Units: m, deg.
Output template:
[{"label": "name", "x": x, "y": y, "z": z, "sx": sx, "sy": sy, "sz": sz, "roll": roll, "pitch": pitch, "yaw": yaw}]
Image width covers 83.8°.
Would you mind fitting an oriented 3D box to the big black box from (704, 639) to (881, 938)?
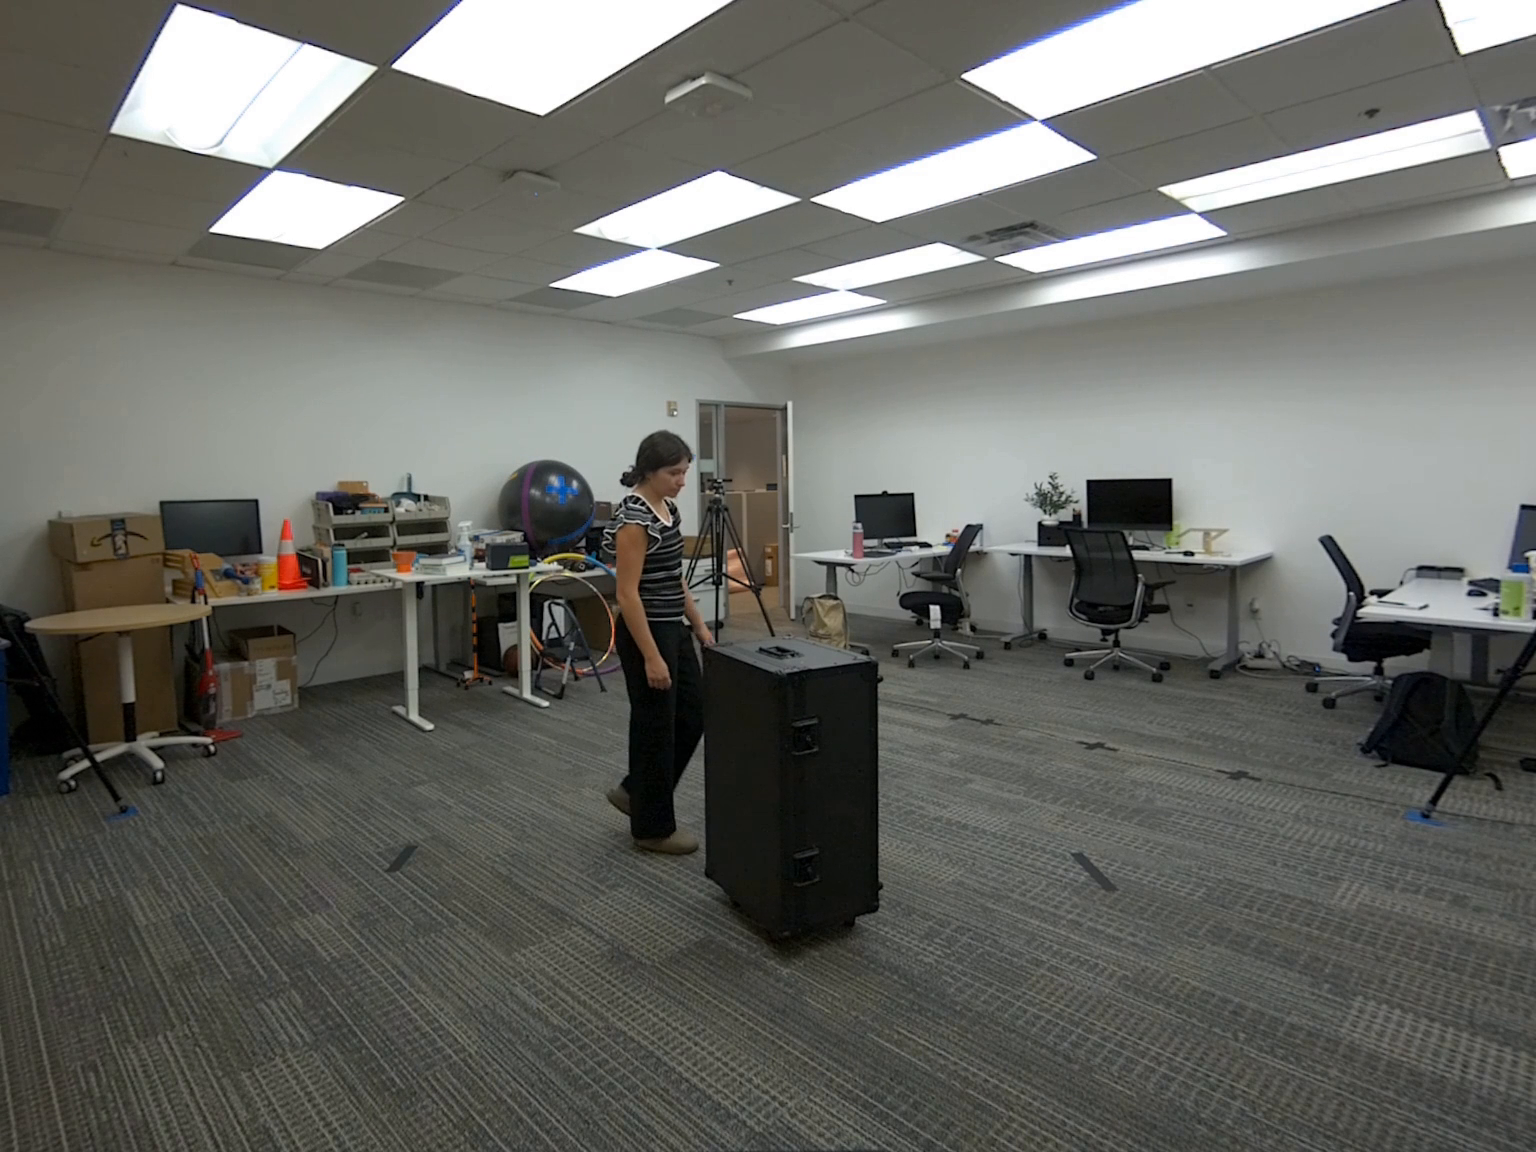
[{"label": "big black box", "x": 0.068, "y": 0.661, "z": 2.723, "sx": 0.387, "sy": 0.859, "sz": 0.535, "roll": -2, "pitch": 4, "yaw": -30}]
